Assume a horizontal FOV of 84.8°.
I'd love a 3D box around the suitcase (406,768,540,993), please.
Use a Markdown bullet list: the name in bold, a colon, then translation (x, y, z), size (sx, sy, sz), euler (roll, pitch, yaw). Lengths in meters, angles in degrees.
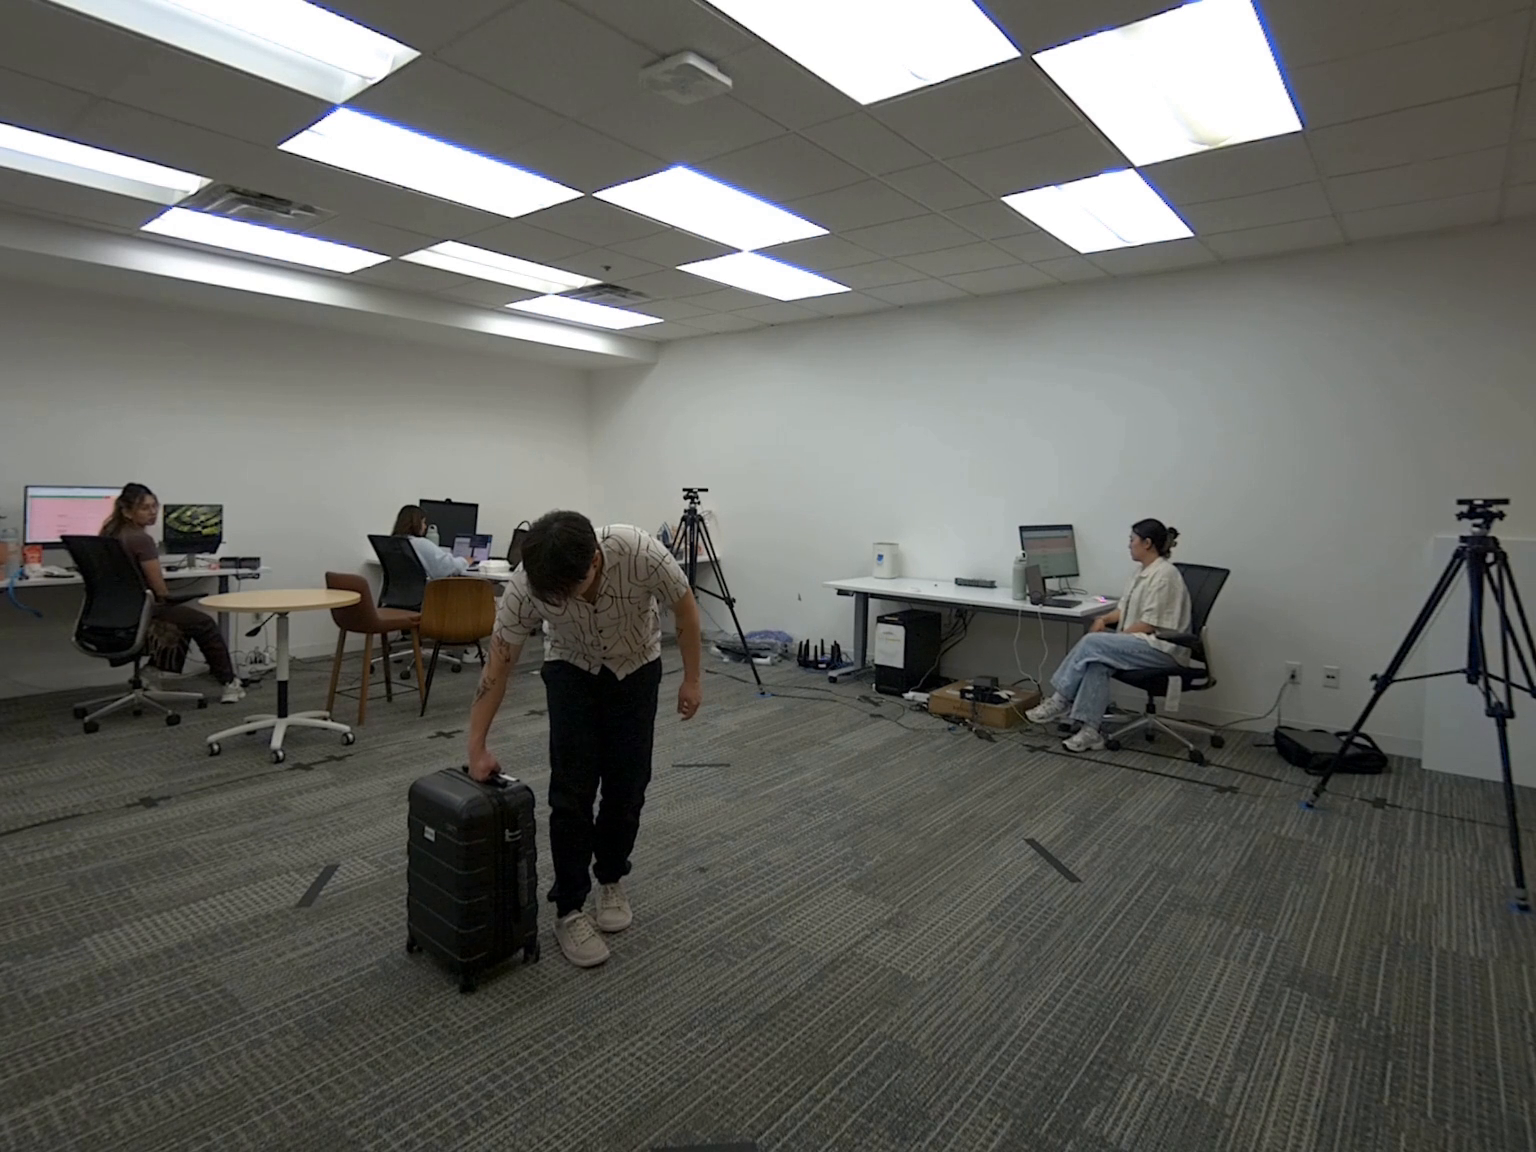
- **suitcase**: translation (-0.874, 0.846, 2.474), size (0.388, 0.547, 0.241), euler (5, 7, 41)
